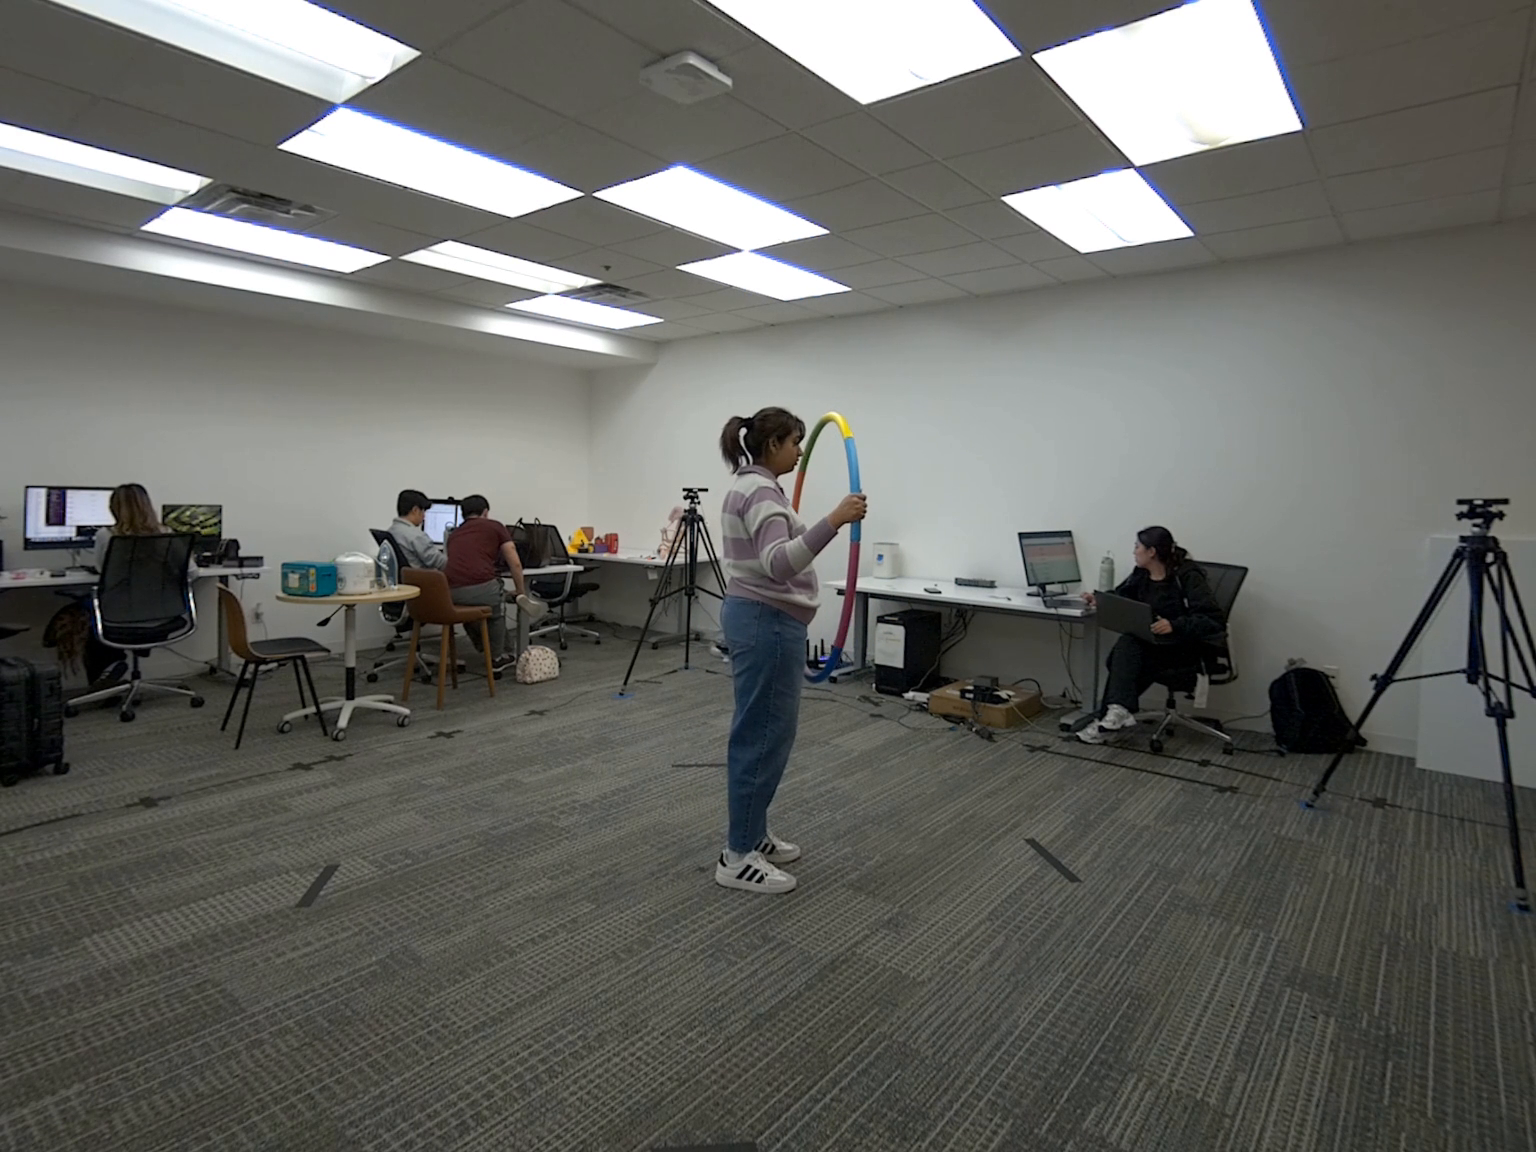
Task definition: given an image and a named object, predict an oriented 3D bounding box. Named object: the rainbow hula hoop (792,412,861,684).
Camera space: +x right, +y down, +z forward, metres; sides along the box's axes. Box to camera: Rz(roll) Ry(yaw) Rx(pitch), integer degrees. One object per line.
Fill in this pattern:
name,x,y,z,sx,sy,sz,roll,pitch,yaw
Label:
rainbow hula hoop,0.180,-0.111,3.128,0.035,0.976,0.991,2,4,-10
